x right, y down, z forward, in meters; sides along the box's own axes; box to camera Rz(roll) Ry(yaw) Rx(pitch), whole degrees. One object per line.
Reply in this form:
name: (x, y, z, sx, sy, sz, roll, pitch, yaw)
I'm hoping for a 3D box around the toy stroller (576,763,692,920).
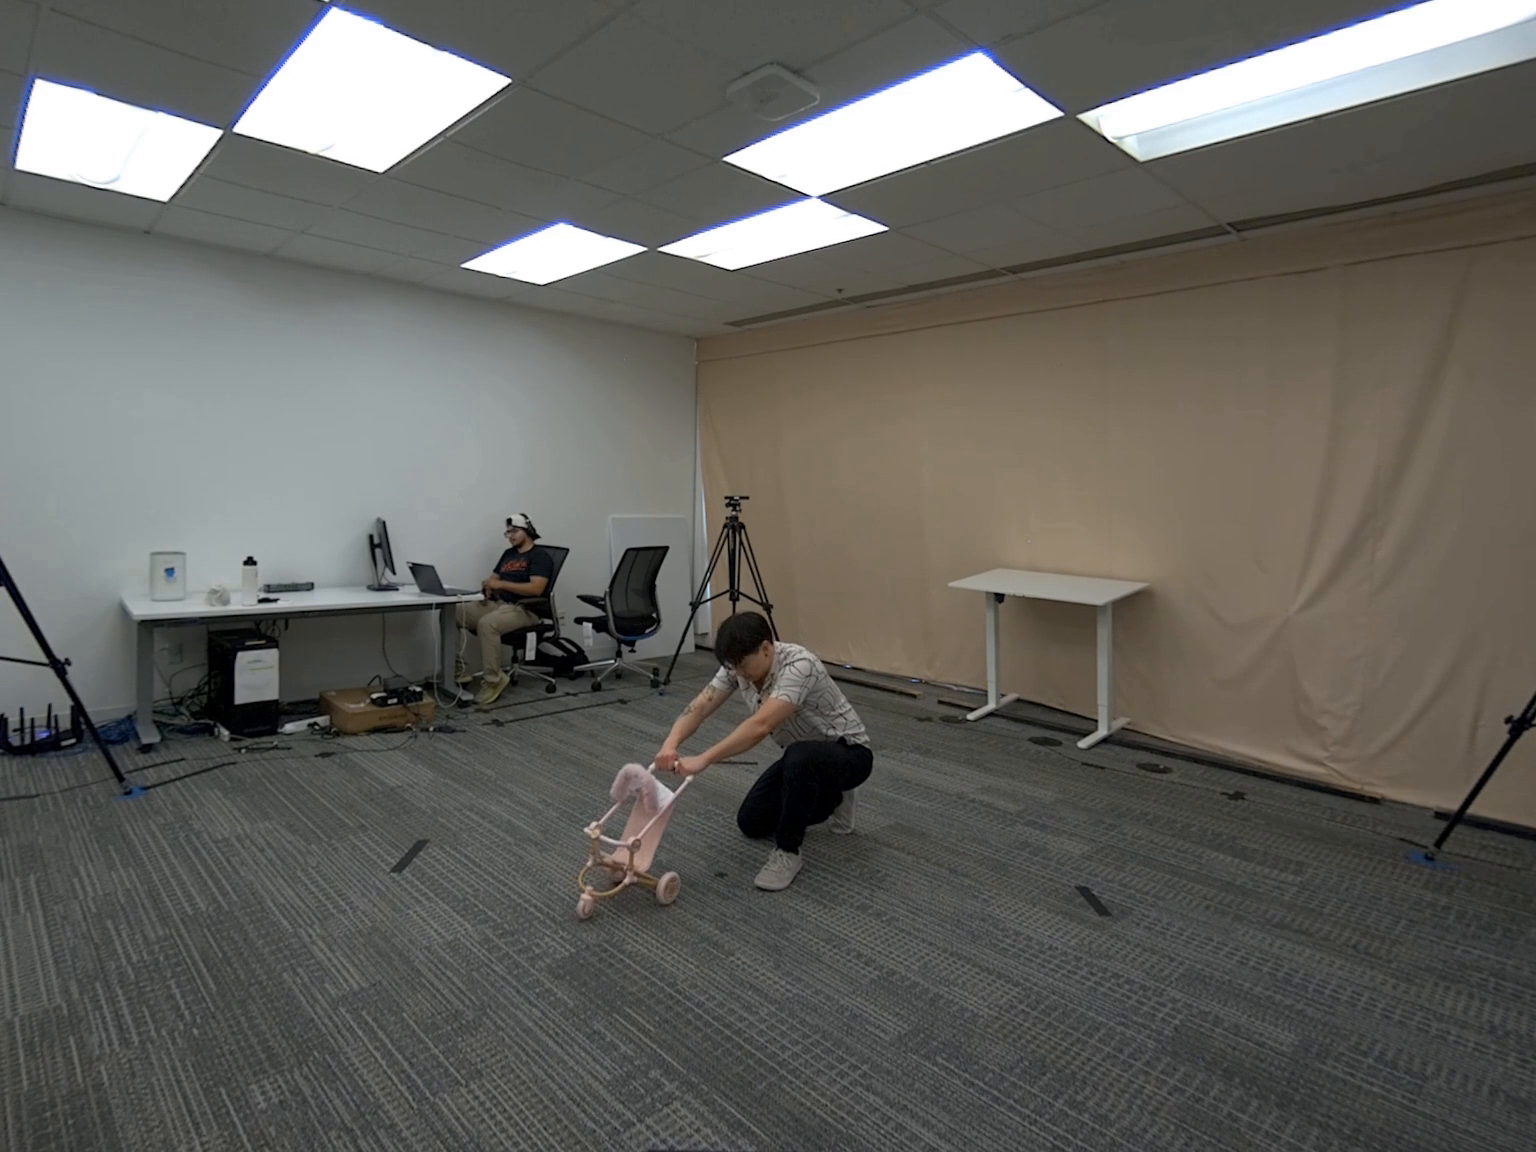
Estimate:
toy stroller: (-0.476, 0.889, 2.896, 0.288, 0.538, 0.331, 3, -12, 43)
